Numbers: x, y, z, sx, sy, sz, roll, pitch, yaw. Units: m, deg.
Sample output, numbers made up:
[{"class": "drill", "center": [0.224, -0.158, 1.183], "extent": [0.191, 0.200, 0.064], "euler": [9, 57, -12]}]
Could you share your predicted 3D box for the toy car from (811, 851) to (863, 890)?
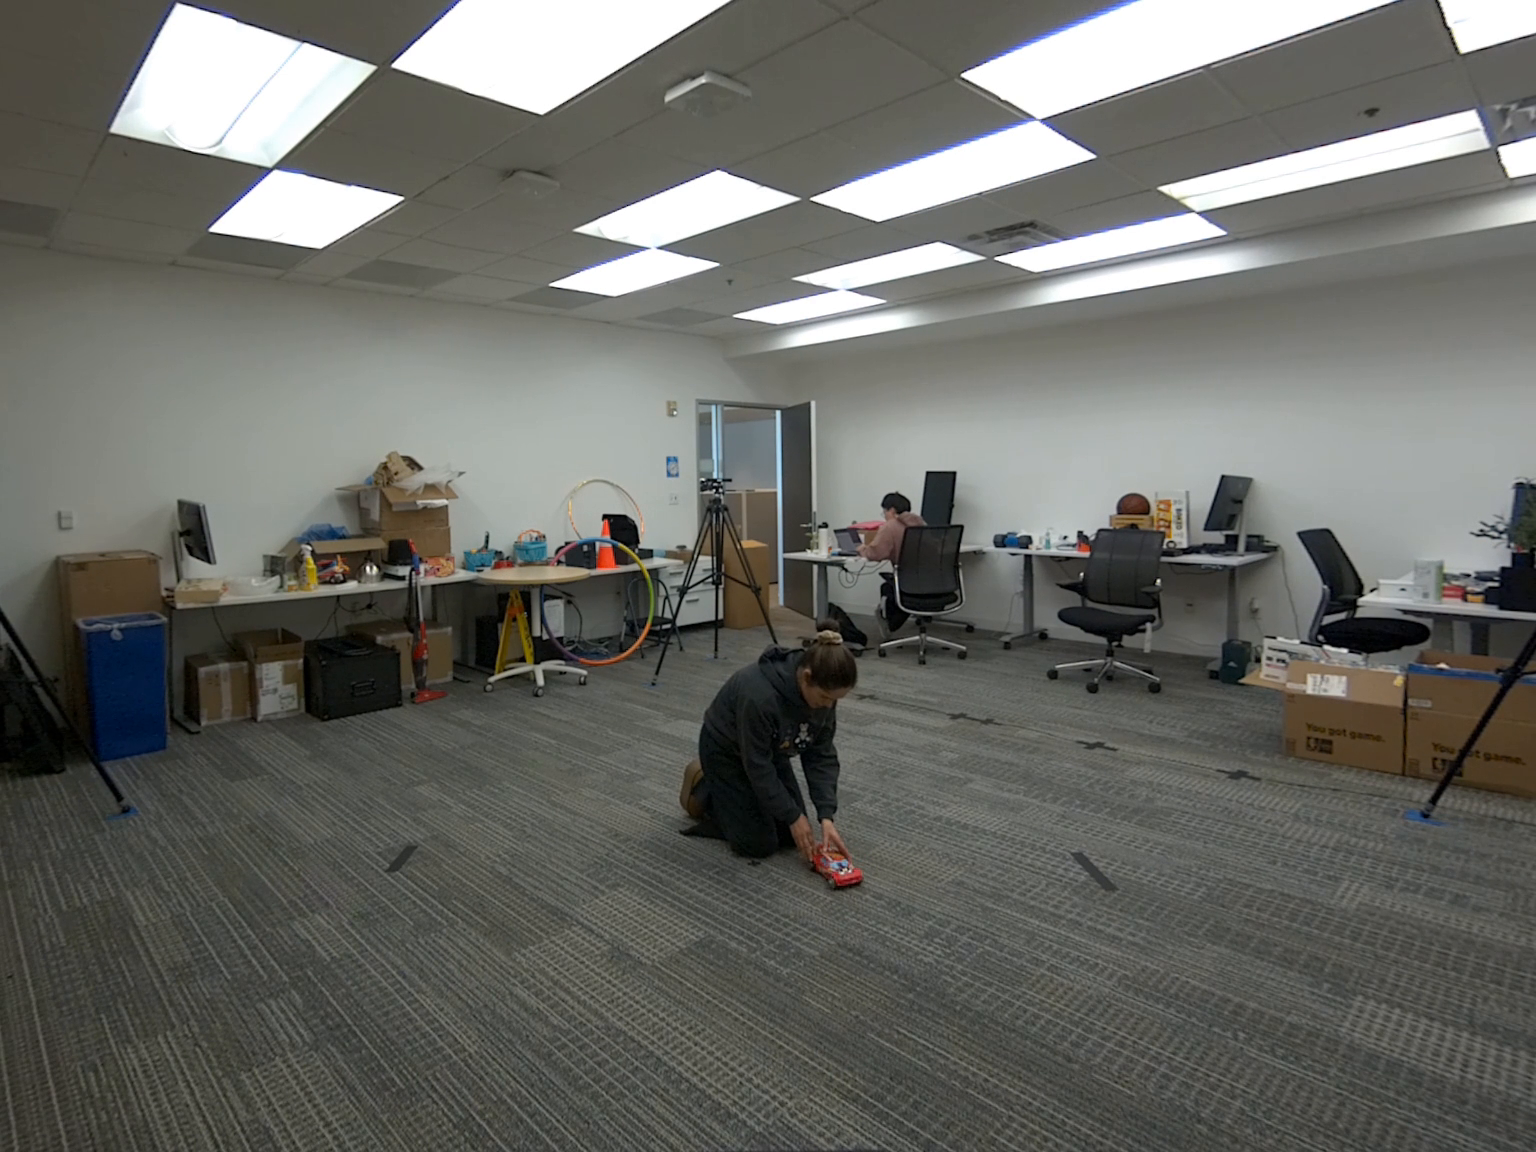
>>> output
[{"class": "toy car", "center": [0.226, 1.021, 2.993], "extent": [0.128, 0.082, 0.262], "euler": [-2, 14, -23]}]
